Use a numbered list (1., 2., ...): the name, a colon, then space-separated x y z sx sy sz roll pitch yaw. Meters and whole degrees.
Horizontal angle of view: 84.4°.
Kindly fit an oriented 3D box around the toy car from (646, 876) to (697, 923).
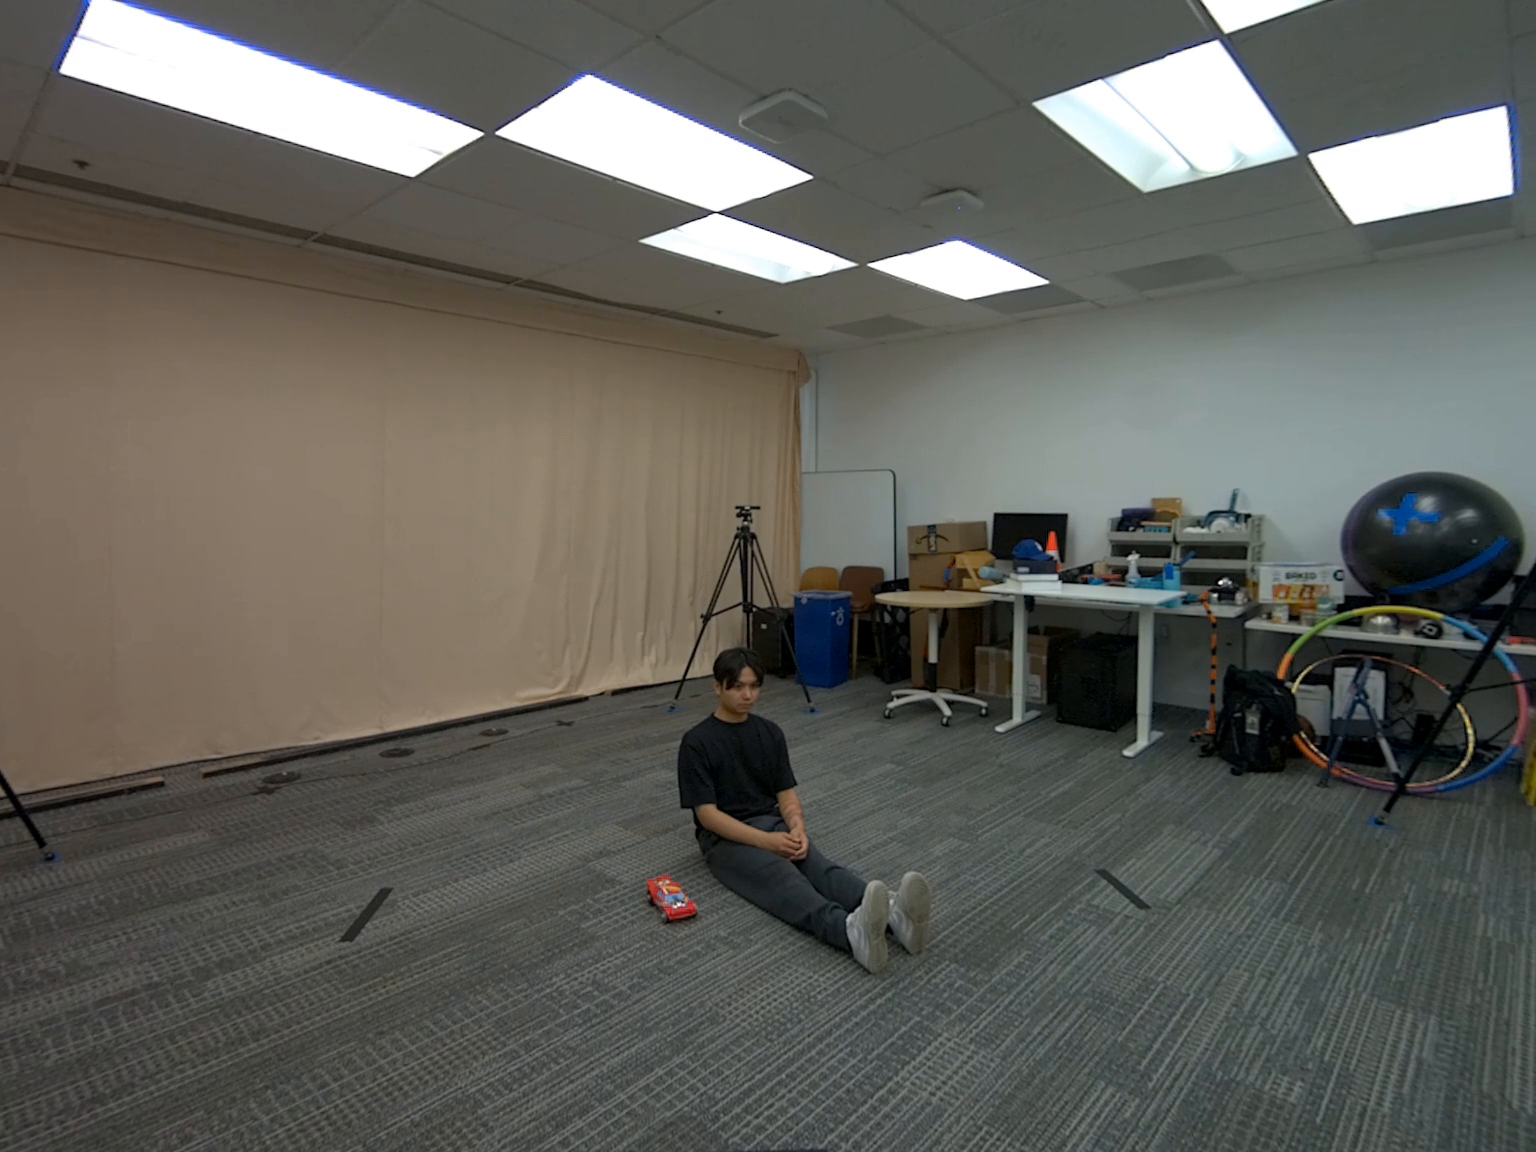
1. toy car: -0.350 1.125 2.920 0.127 0.082 0.262 -3 16 -24
